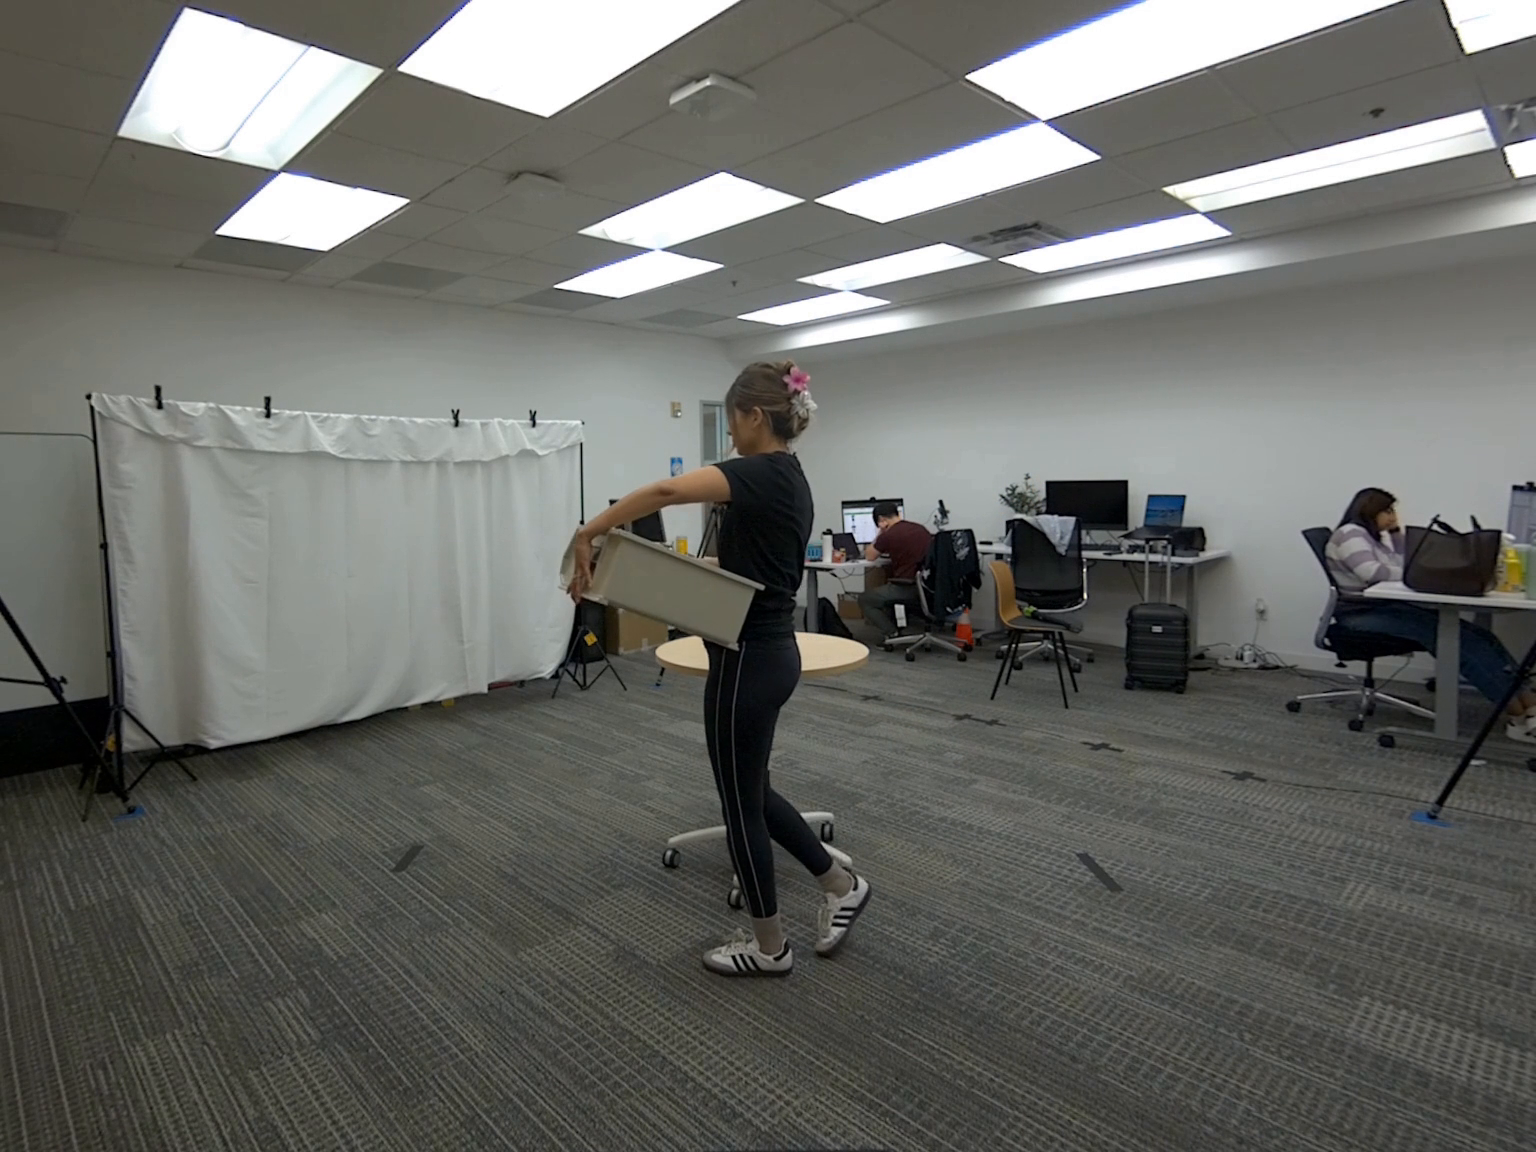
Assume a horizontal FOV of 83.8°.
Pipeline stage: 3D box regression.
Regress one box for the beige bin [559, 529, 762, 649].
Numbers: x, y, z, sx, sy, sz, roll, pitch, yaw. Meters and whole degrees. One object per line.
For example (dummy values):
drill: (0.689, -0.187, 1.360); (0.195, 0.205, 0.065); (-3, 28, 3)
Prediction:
beige bin: (-0.295, 0.025, 2.264); (0.410, 0.189, 0.387); (23, -6, -27)
